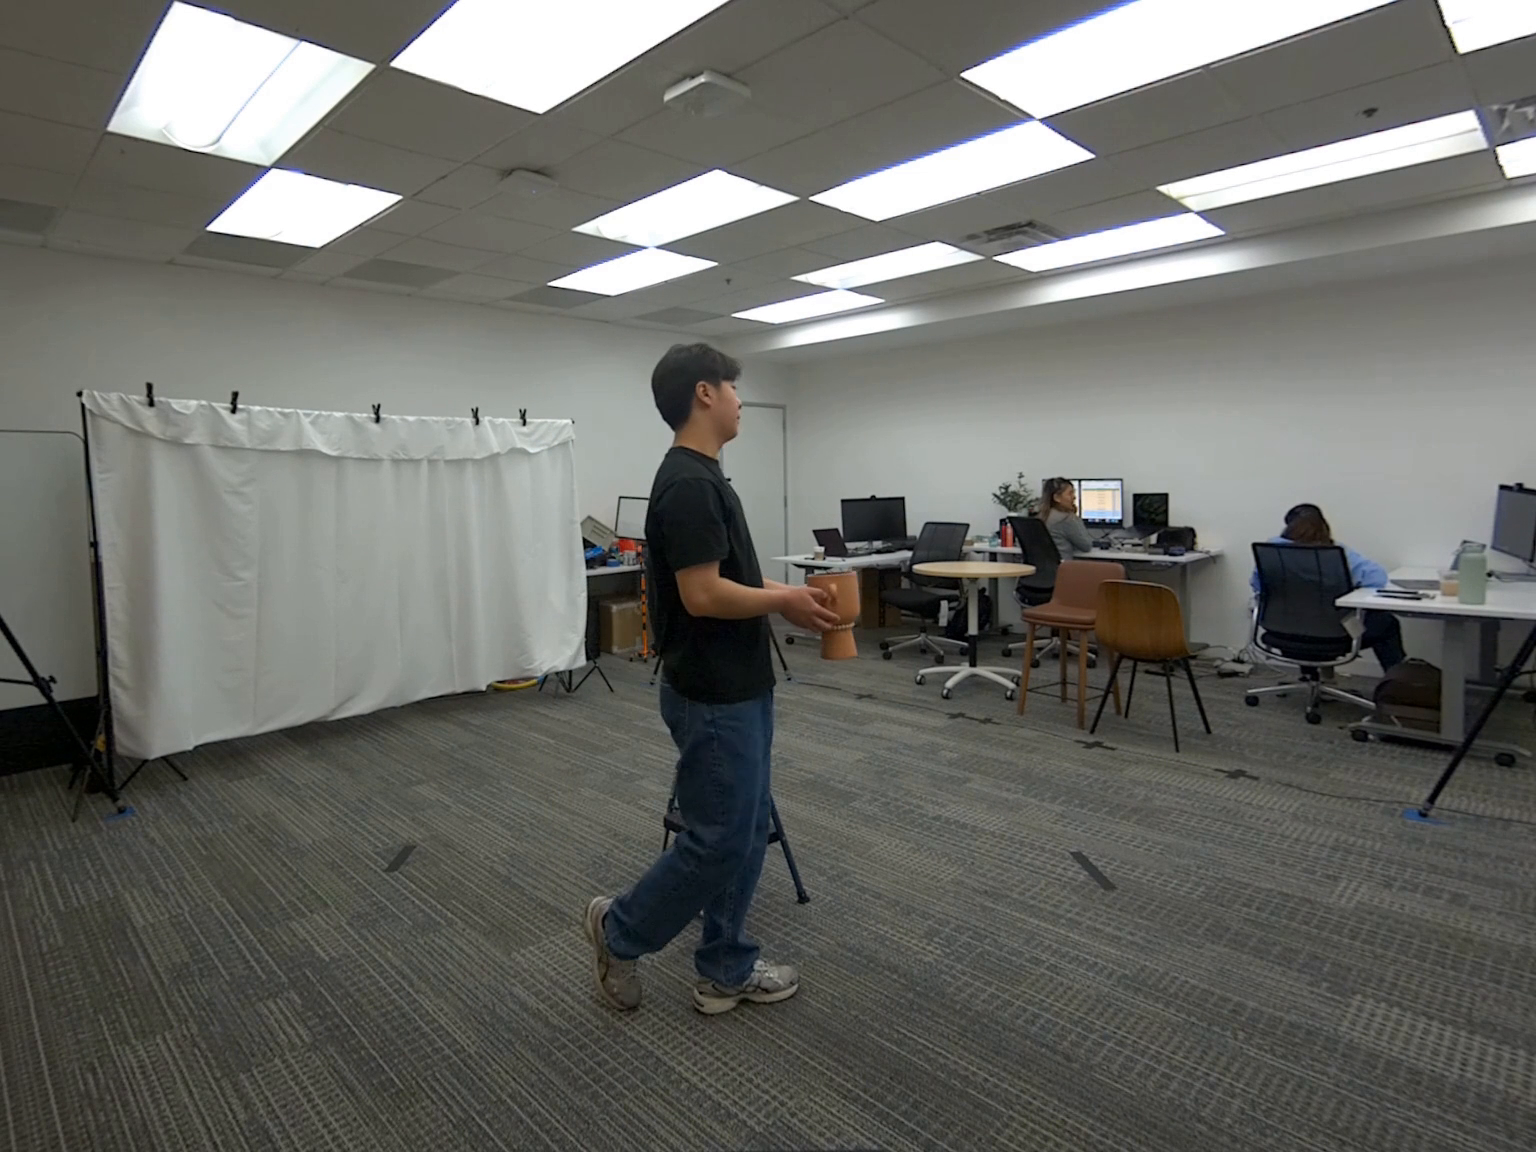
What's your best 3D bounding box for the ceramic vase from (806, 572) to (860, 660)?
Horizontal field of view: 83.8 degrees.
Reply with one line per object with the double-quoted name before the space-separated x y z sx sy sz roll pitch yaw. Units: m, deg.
"ceramic vase" 0.165 0.102 2.254 0.138 0.219 0.155 -4 2 41
